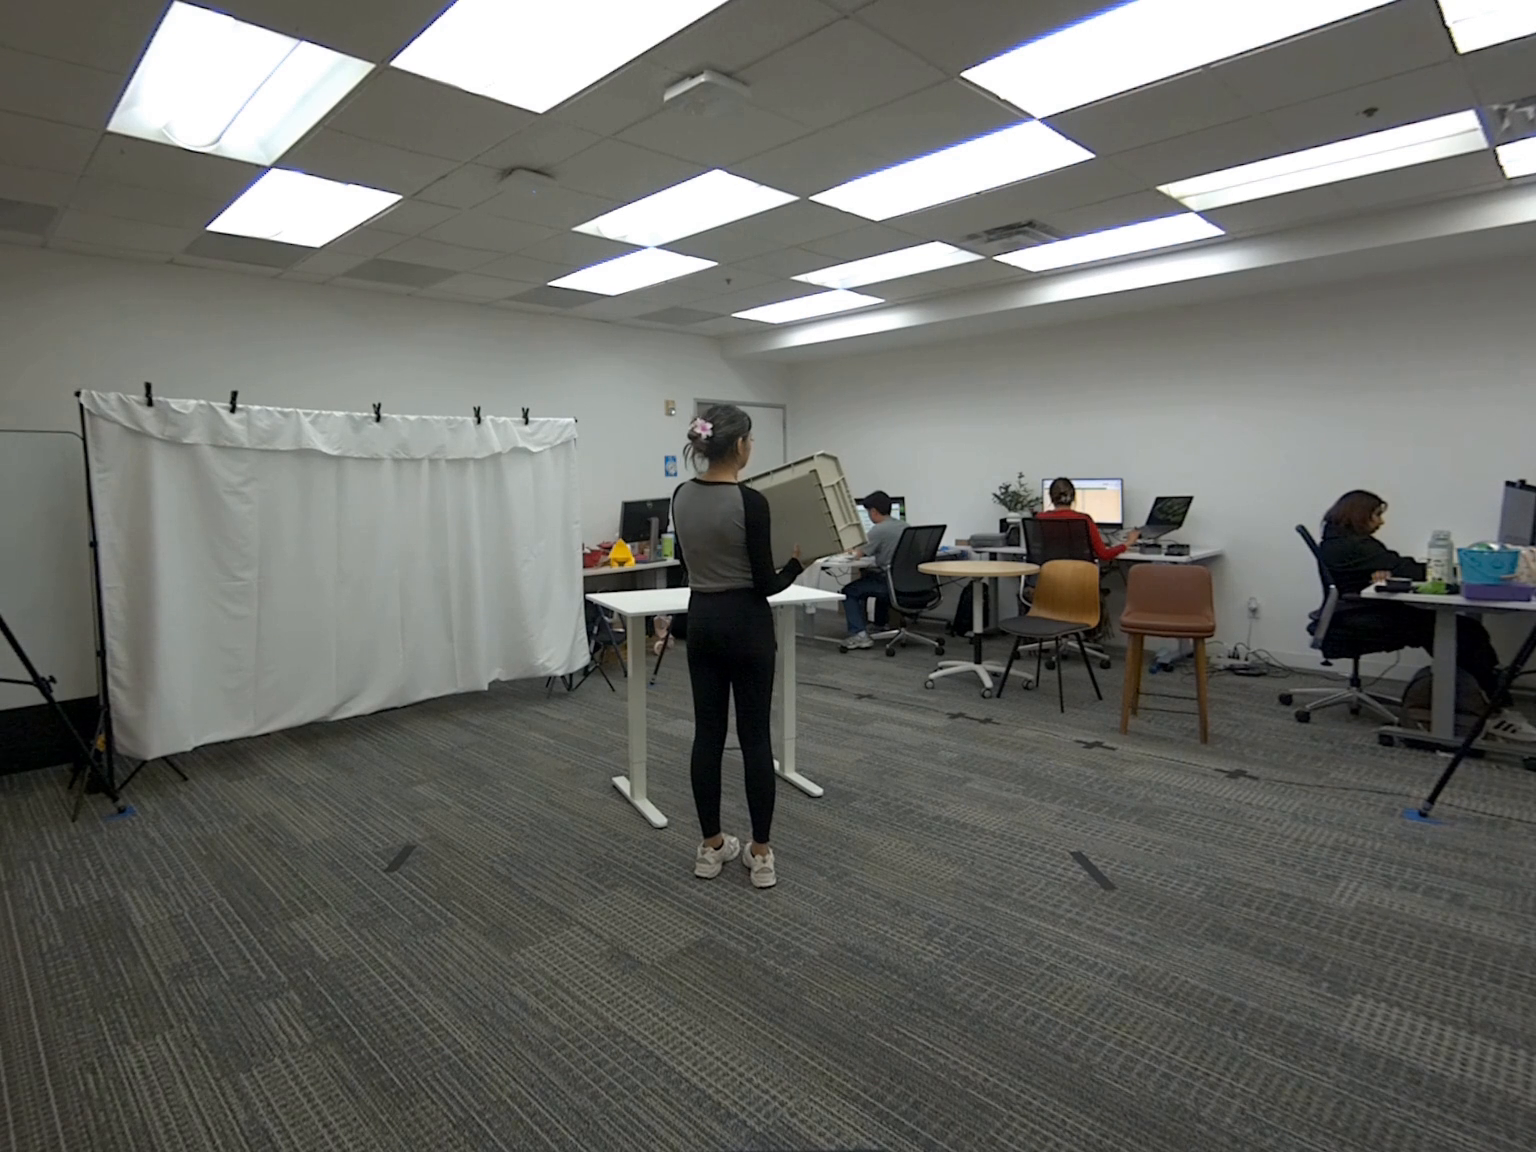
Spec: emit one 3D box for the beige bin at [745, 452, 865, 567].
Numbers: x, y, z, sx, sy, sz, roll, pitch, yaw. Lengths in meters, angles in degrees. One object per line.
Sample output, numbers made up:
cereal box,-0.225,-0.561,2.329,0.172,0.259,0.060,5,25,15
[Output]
beige bin,0.099,-0.225,3.194,0.430,0.376,0.186,-16,5,36
